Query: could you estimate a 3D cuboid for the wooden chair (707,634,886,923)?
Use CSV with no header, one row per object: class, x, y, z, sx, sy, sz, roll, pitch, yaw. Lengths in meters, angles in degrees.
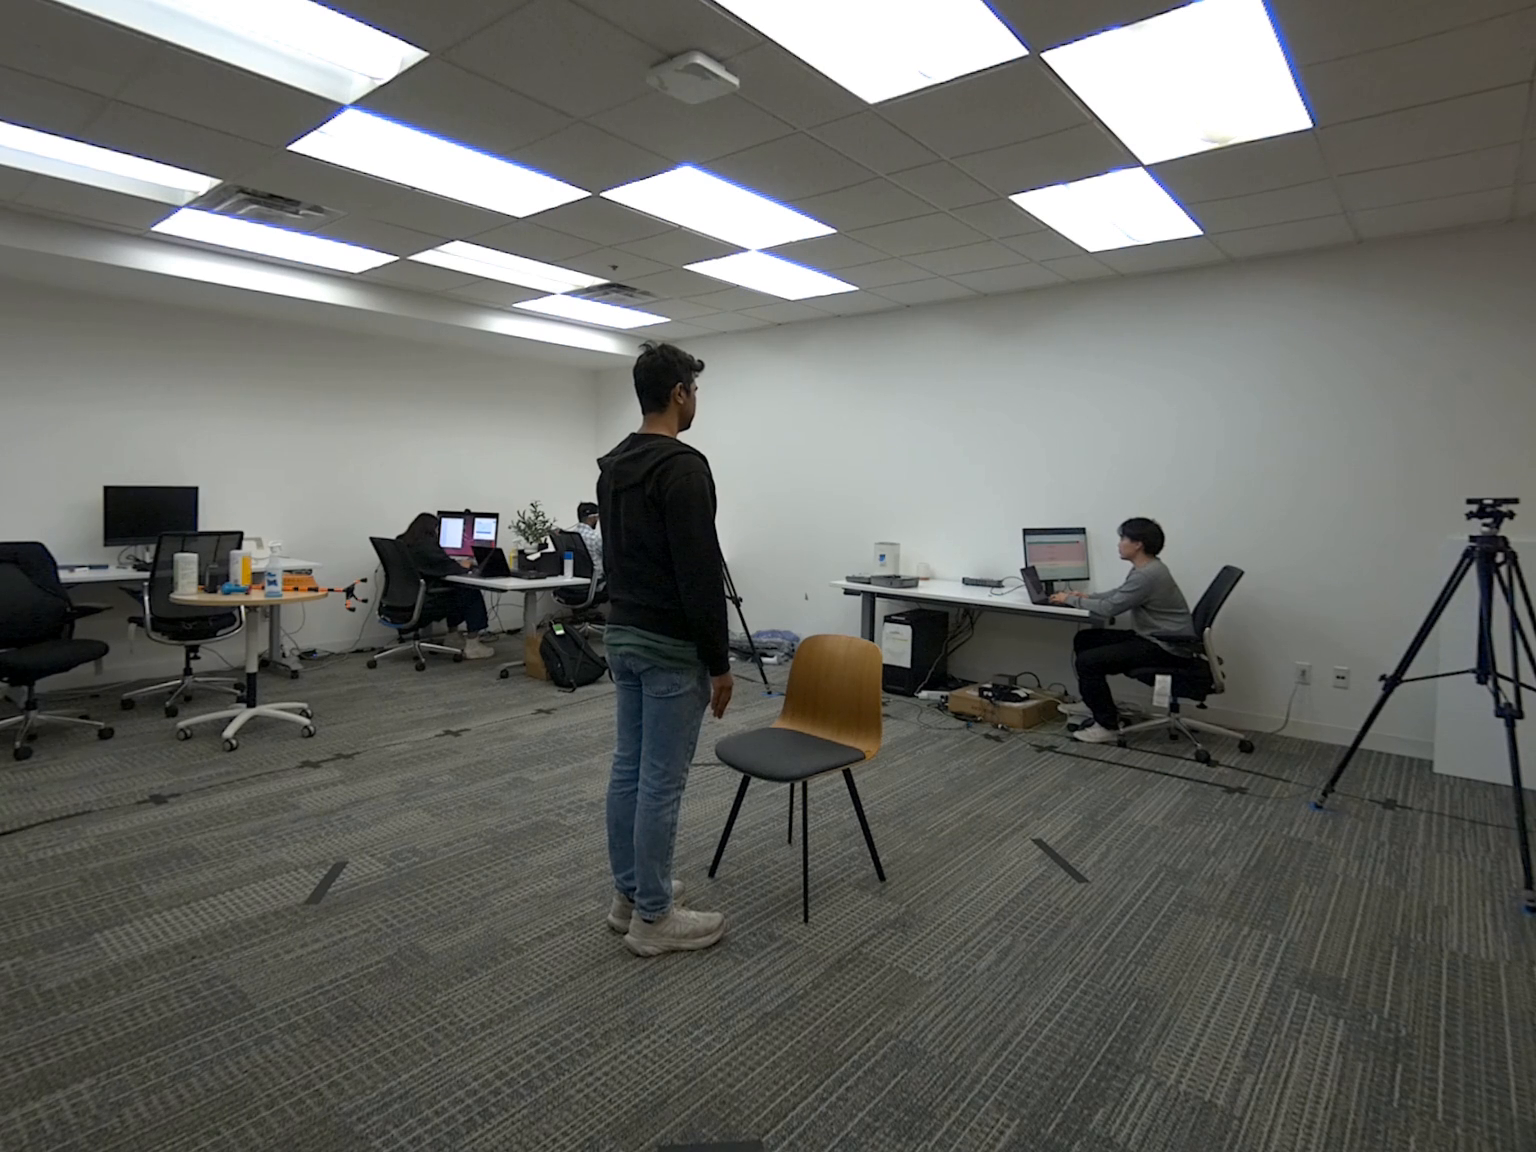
wooden chair,0.100,0.657,3.015,0.494,0.877,0.505,5,1,43
